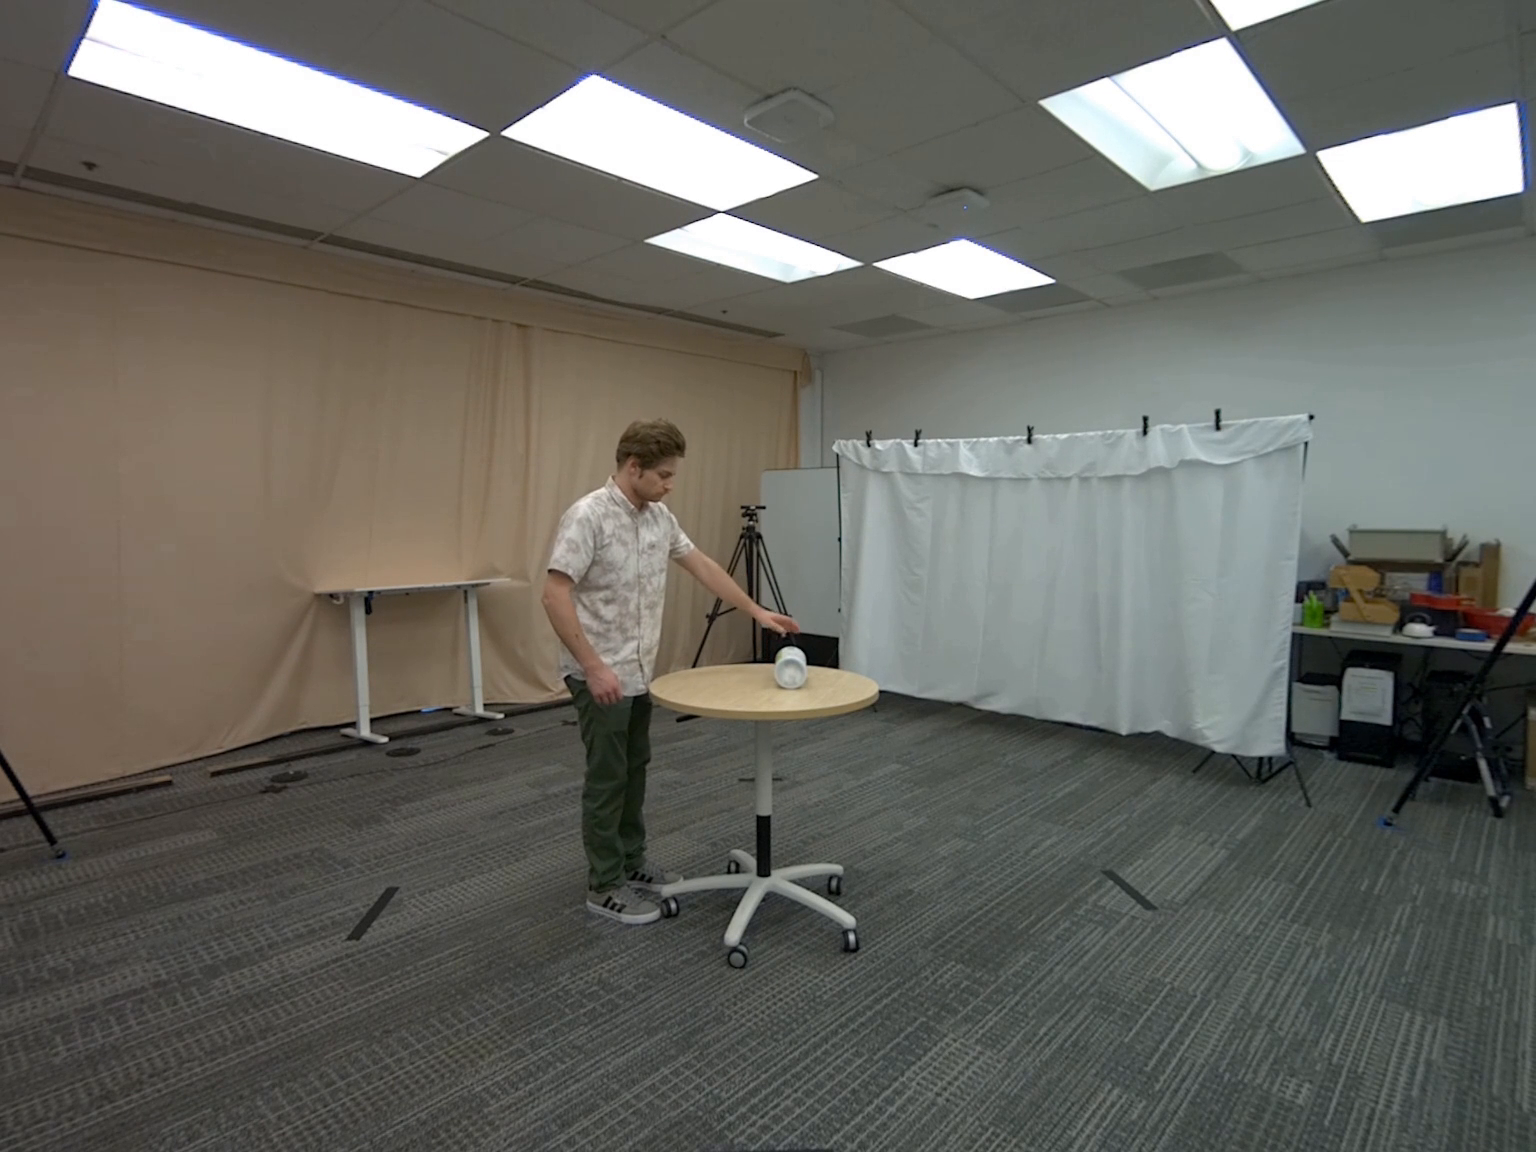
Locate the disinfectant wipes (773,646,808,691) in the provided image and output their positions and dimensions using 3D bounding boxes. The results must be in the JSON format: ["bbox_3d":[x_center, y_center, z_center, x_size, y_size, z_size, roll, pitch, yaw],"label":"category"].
[{"bbox_3d":[0.083,0.306,2.838,0.118,0.117,0.217,0,4,0],"label":"disinfectant wipes"}]
